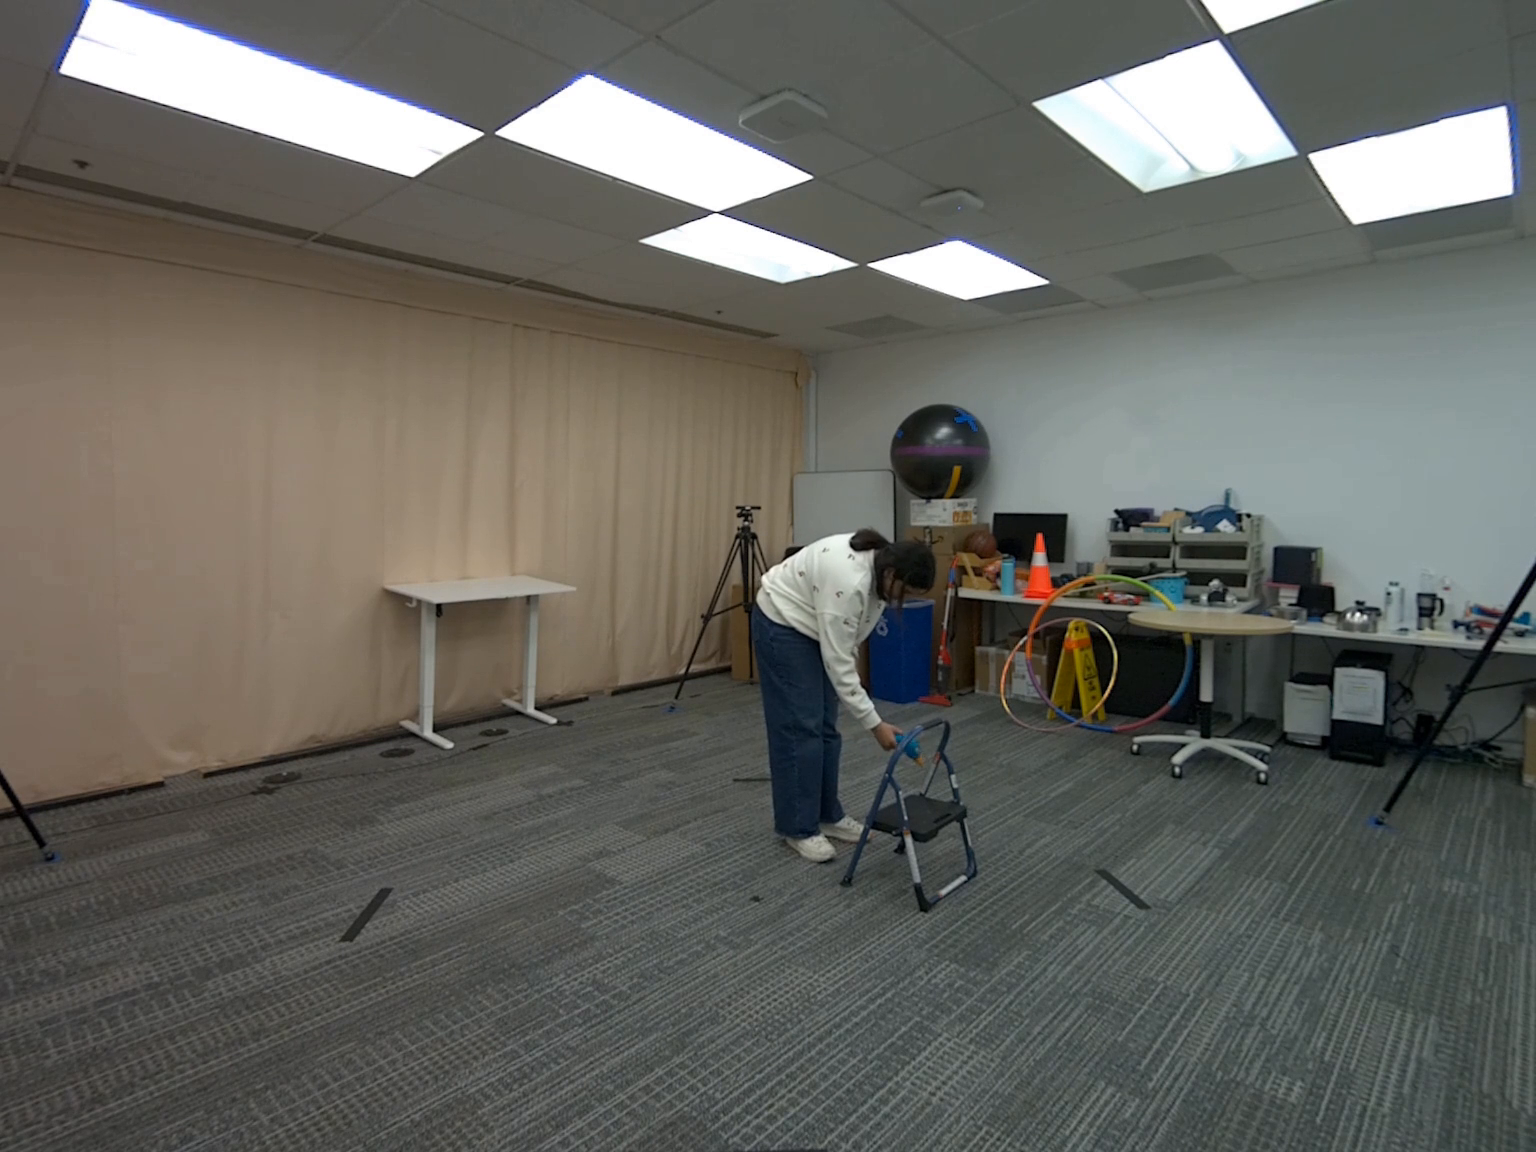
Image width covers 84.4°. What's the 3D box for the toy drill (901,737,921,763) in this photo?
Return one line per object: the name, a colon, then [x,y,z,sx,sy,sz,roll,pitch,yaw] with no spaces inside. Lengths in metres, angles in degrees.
toy drill: [0.526,0.658,3.194,0.060,0.166,0.151,-41,27,-23]
